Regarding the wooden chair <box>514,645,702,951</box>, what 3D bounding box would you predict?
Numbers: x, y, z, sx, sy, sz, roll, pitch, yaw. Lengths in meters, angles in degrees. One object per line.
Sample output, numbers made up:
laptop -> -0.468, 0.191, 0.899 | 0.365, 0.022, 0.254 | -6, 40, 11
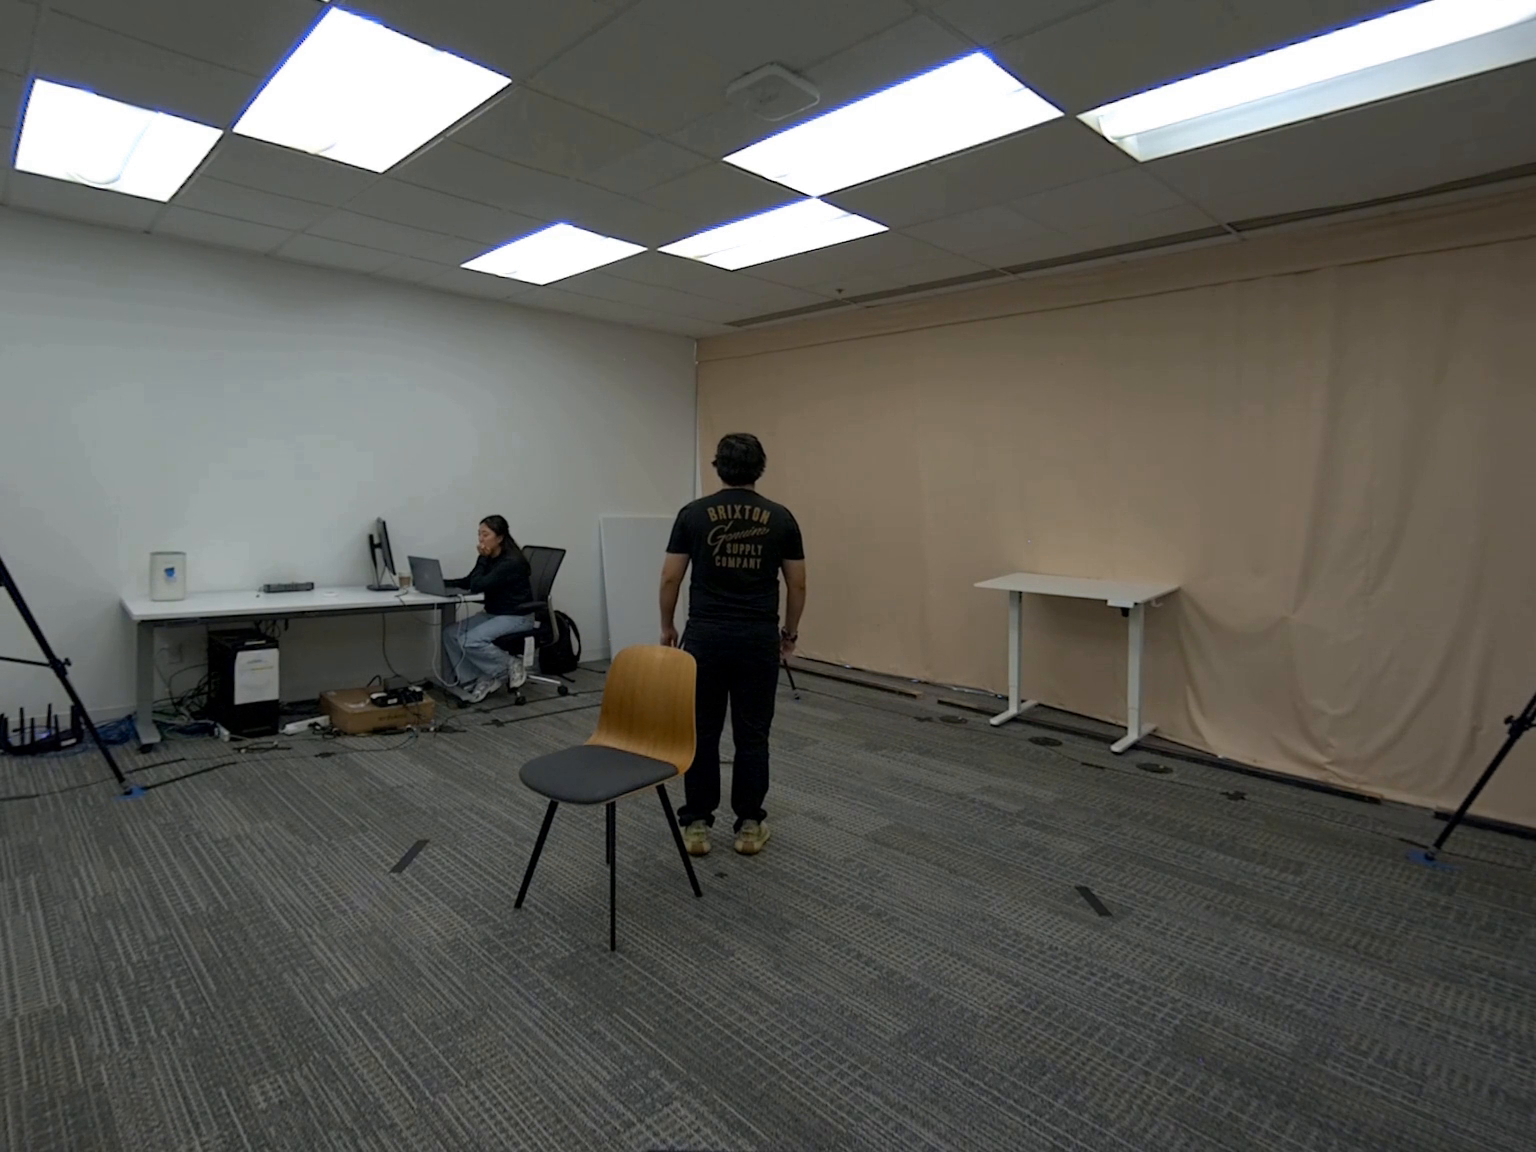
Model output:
wooden chair -> -0.534, 0.694, 2.835 | 0.489, 0.877, 0.511 | 4, 0, 34
